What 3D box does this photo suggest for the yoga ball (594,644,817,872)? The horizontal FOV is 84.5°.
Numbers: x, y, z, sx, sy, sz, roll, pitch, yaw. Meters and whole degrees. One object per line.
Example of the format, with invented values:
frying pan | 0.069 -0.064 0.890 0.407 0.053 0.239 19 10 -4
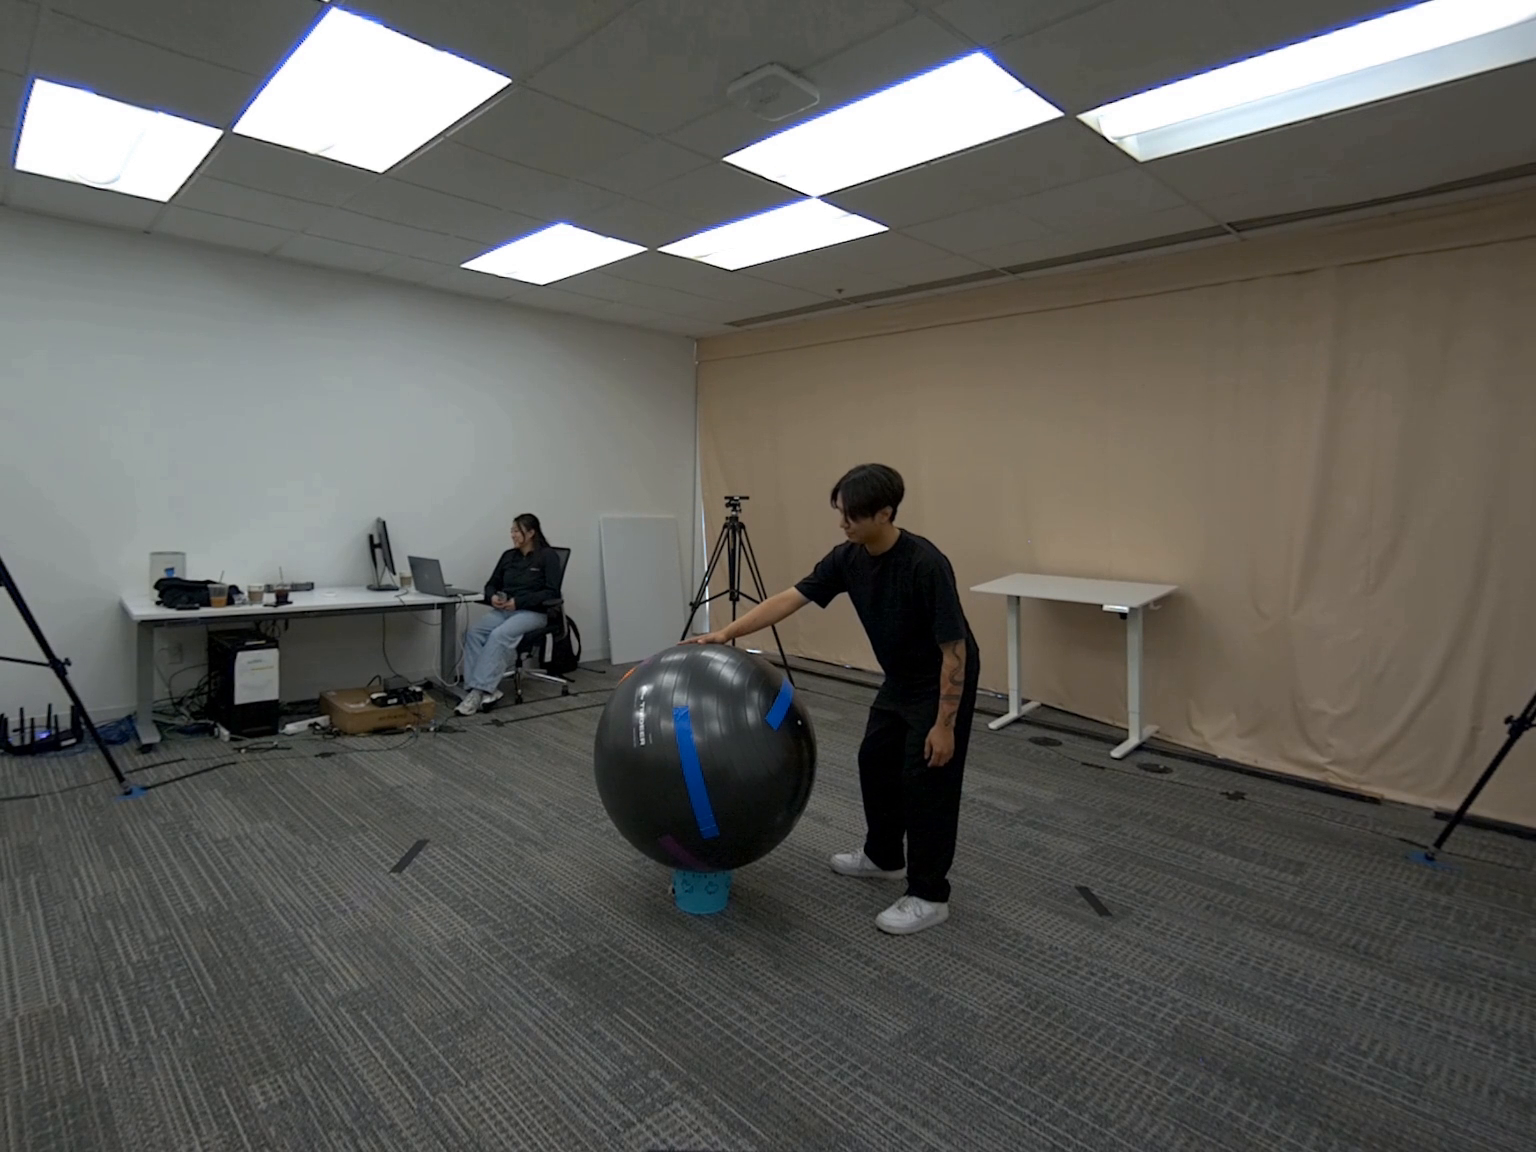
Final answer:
yoga ball | -0.229 0.616 2.877 0.757 0.756 0.761 1 4 -1
